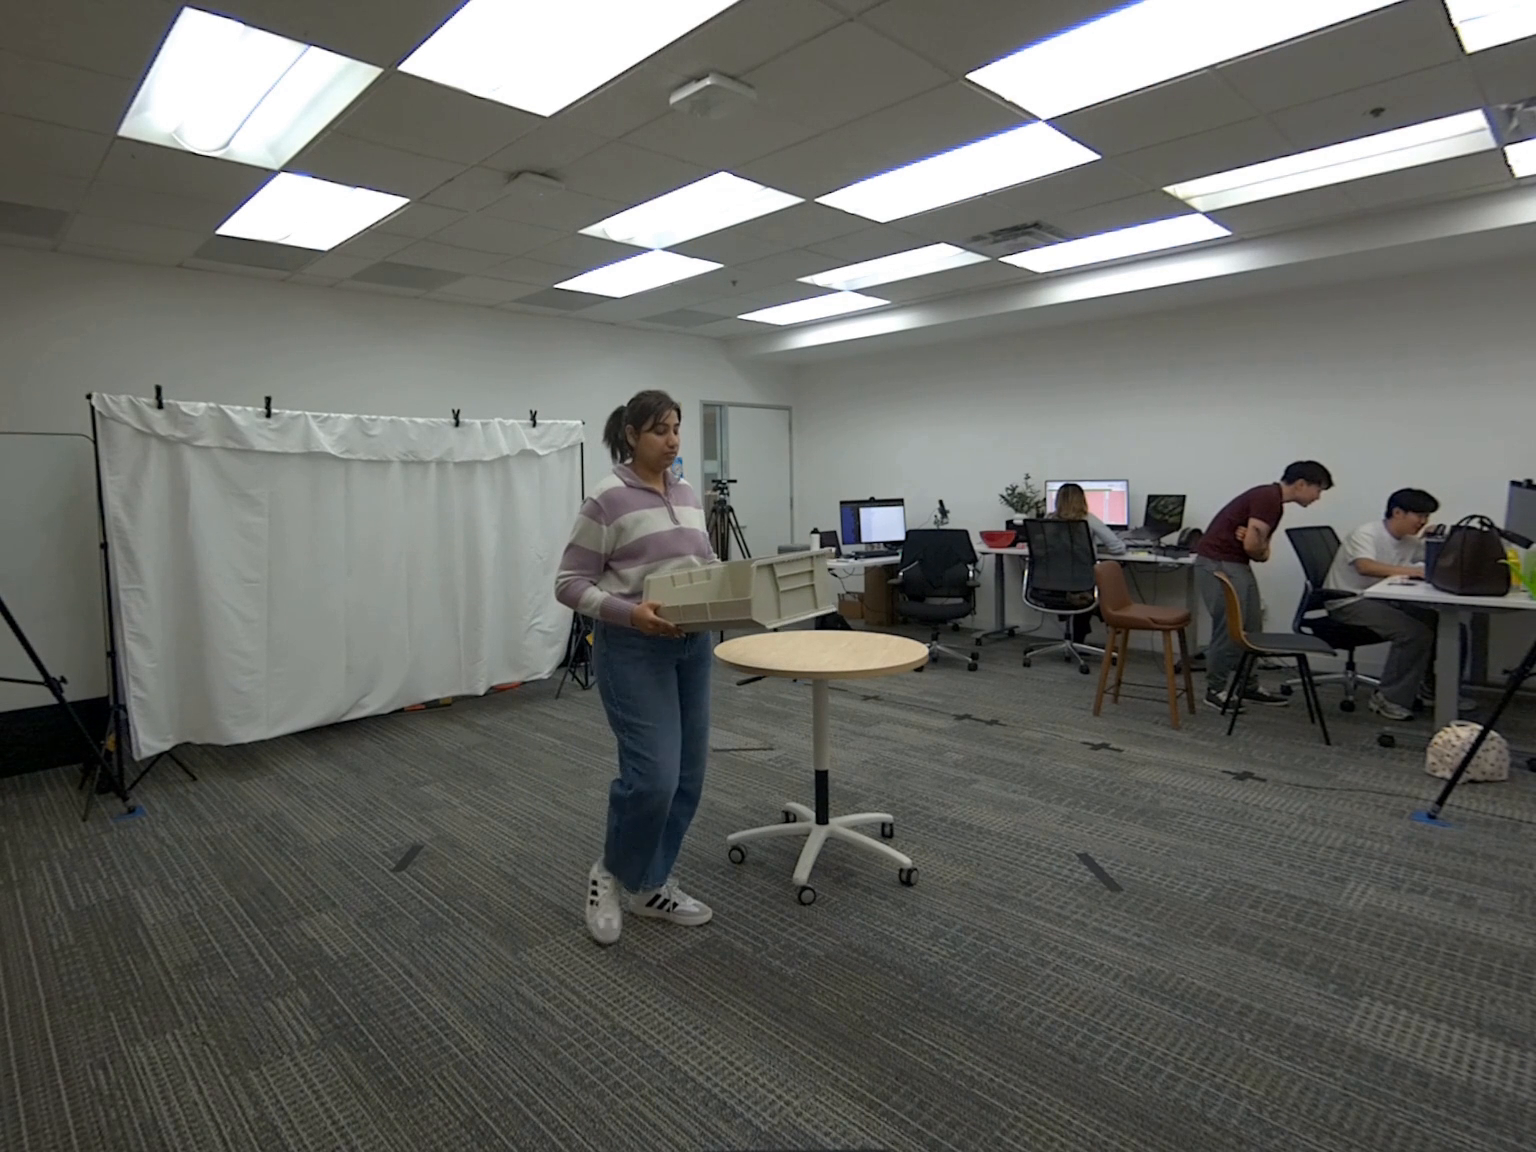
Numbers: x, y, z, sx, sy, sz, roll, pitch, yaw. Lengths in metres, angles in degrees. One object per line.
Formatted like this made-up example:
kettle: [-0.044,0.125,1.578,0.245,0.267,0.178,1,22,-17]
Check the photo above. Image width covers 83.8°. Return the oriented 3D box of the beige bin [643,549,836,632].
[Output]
beige bin: [-0.083,0.053,2.425,0.433,0.189,0.368,-7,2,41]
